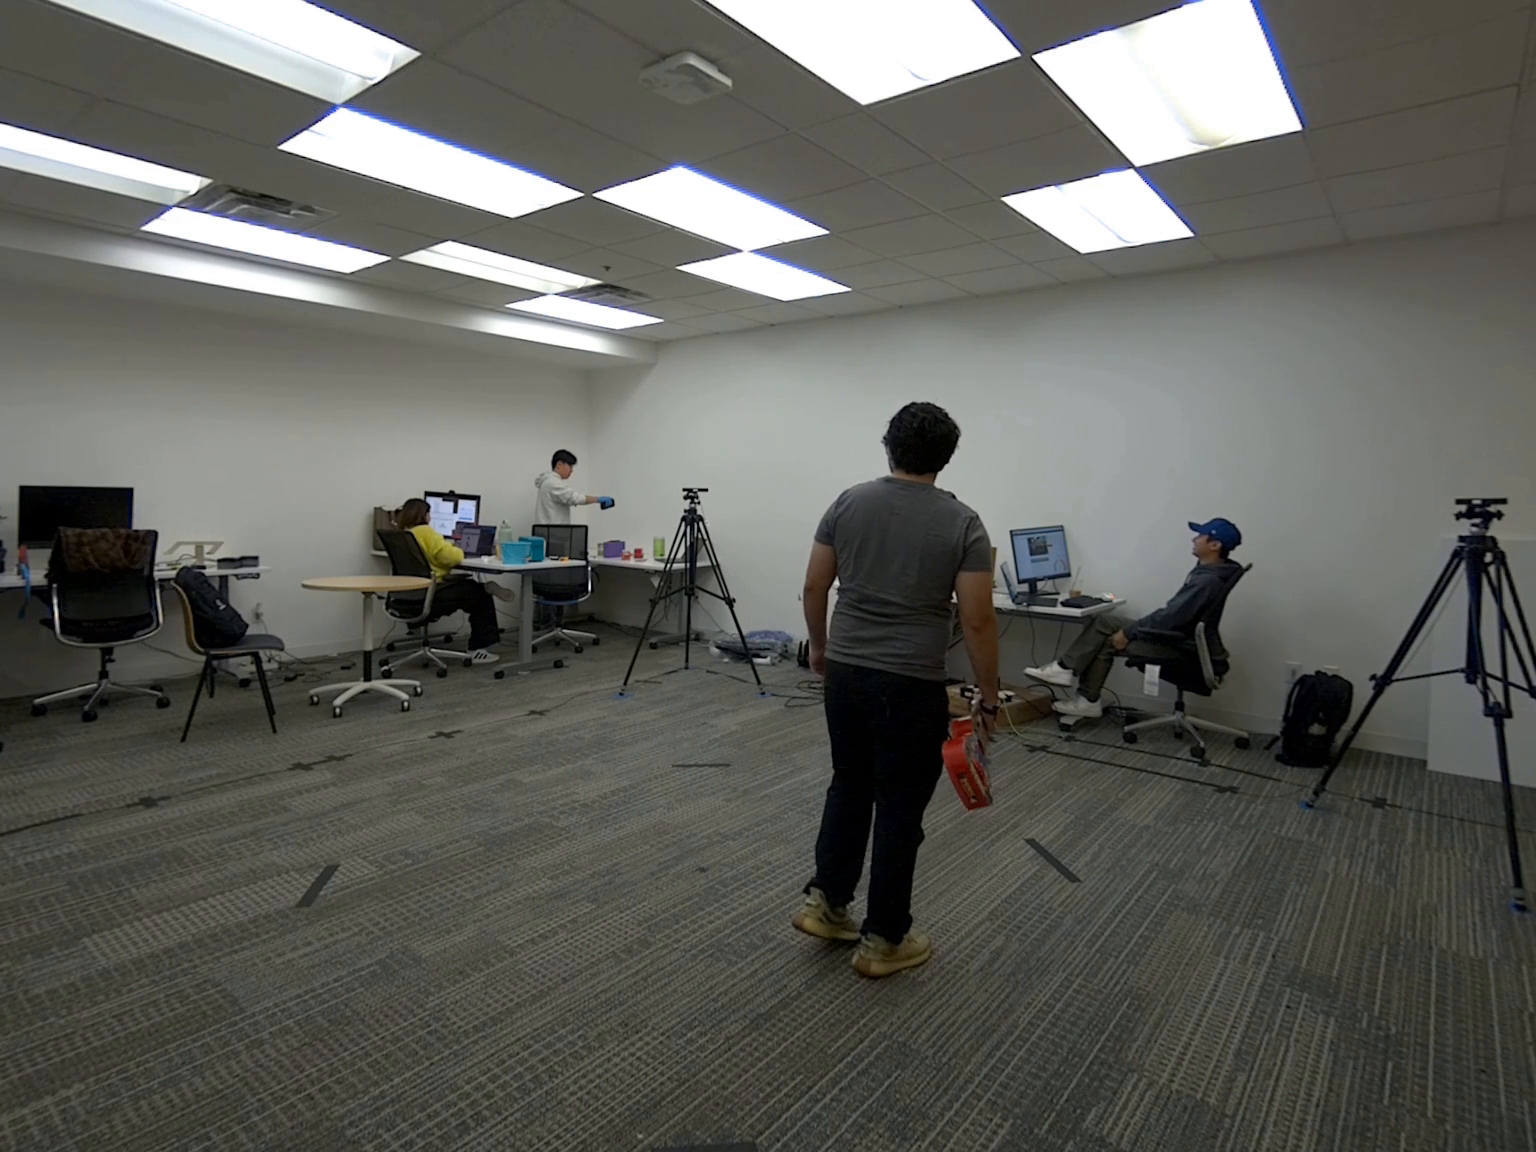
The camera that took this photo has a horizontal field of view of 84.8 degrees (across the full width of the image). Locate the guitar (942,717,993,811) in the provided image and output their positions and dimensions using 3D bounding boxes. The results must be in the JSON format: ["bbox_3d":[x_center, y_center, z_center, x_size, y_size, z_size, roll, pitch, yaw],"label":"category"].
[{"bbox_3d":[0.591,0.483,2.432,0.072,0.192,0.493,-24,4,25],"label":"guitar"}]
